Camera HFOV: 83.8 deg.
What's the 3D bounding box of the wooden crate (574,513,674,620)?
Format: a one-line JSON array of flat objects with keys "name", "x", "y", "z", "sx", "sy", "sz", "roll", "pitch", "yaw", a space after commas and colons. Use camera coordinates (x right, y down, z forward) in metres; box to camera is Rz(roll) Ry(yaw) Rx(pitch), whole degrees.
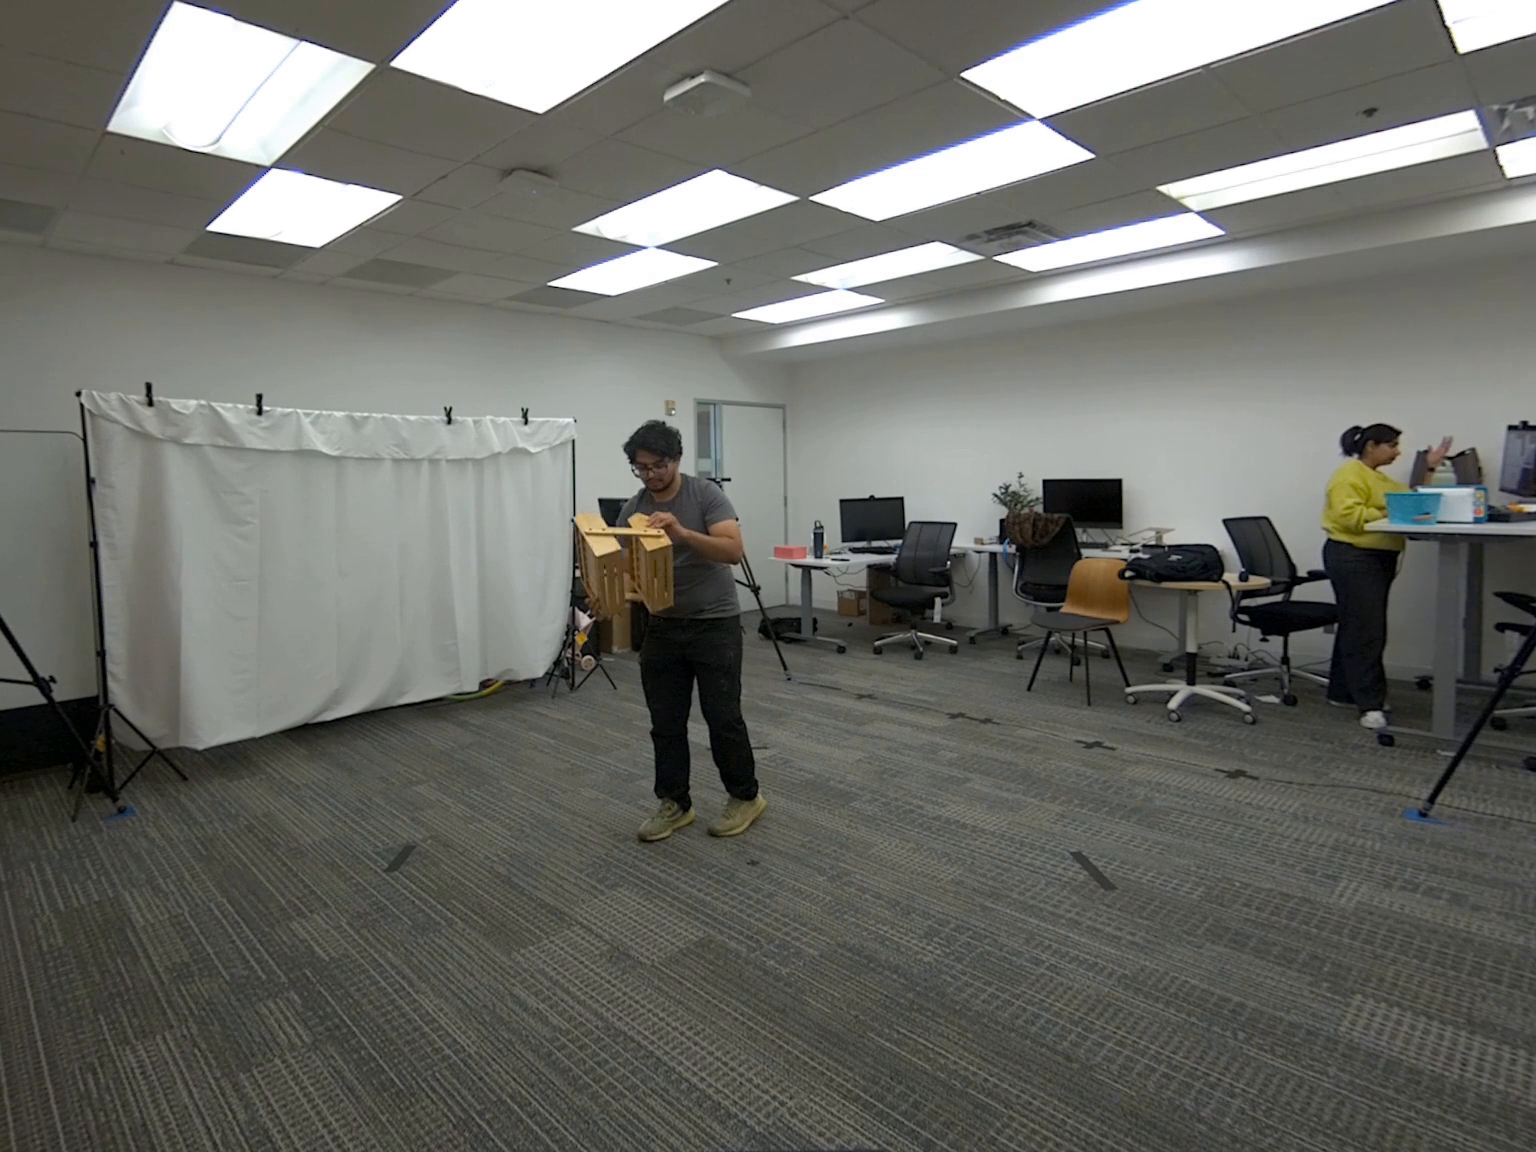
[{"name": "wooden crate", "x": -0.511, "y": -0.053, "z": 3.095, "sx": 0.269, "sy": 0.316, "sz": 0.314, "roll": -18, "pitch": 46, "yaw": -22}]
